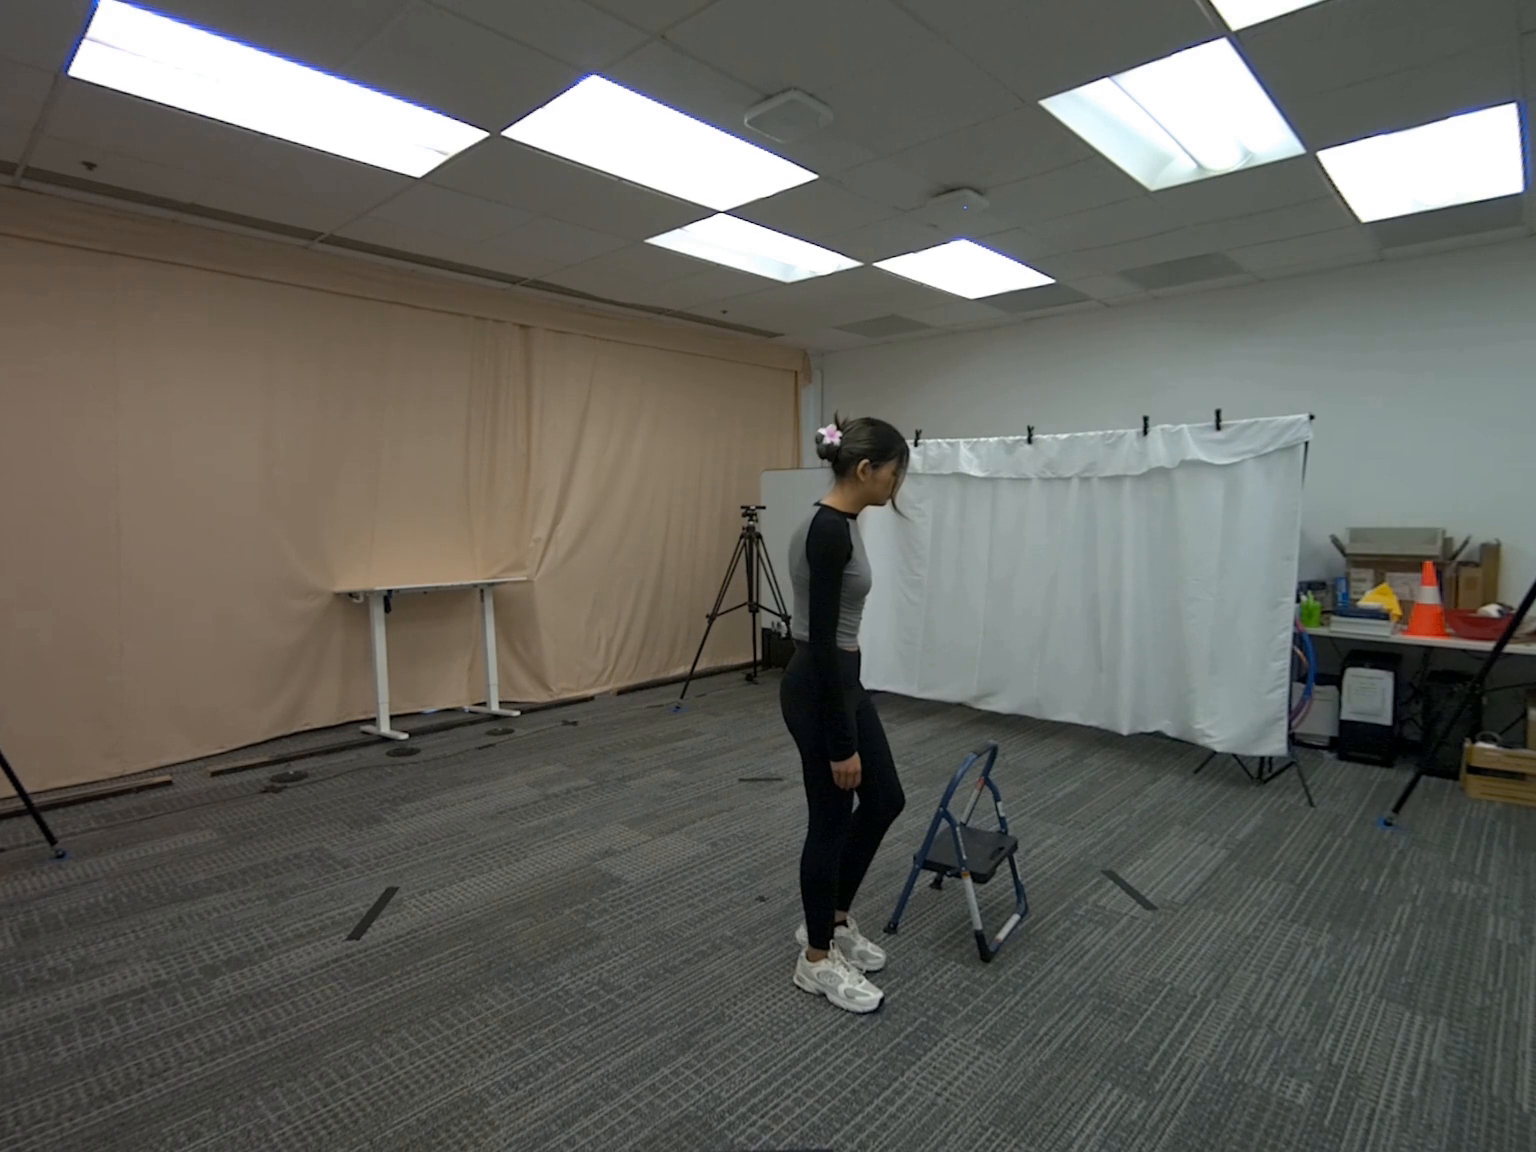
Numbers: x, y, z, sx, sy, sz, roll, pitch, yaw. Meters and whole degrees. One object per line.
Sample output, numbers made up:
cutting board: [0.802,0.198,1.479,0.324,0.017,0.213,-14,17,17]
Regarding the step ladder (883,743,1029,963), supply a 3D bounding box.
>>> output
step ladder: [0.640,0.854,2.803,0.360,0.605,0.418,2,4,34]
